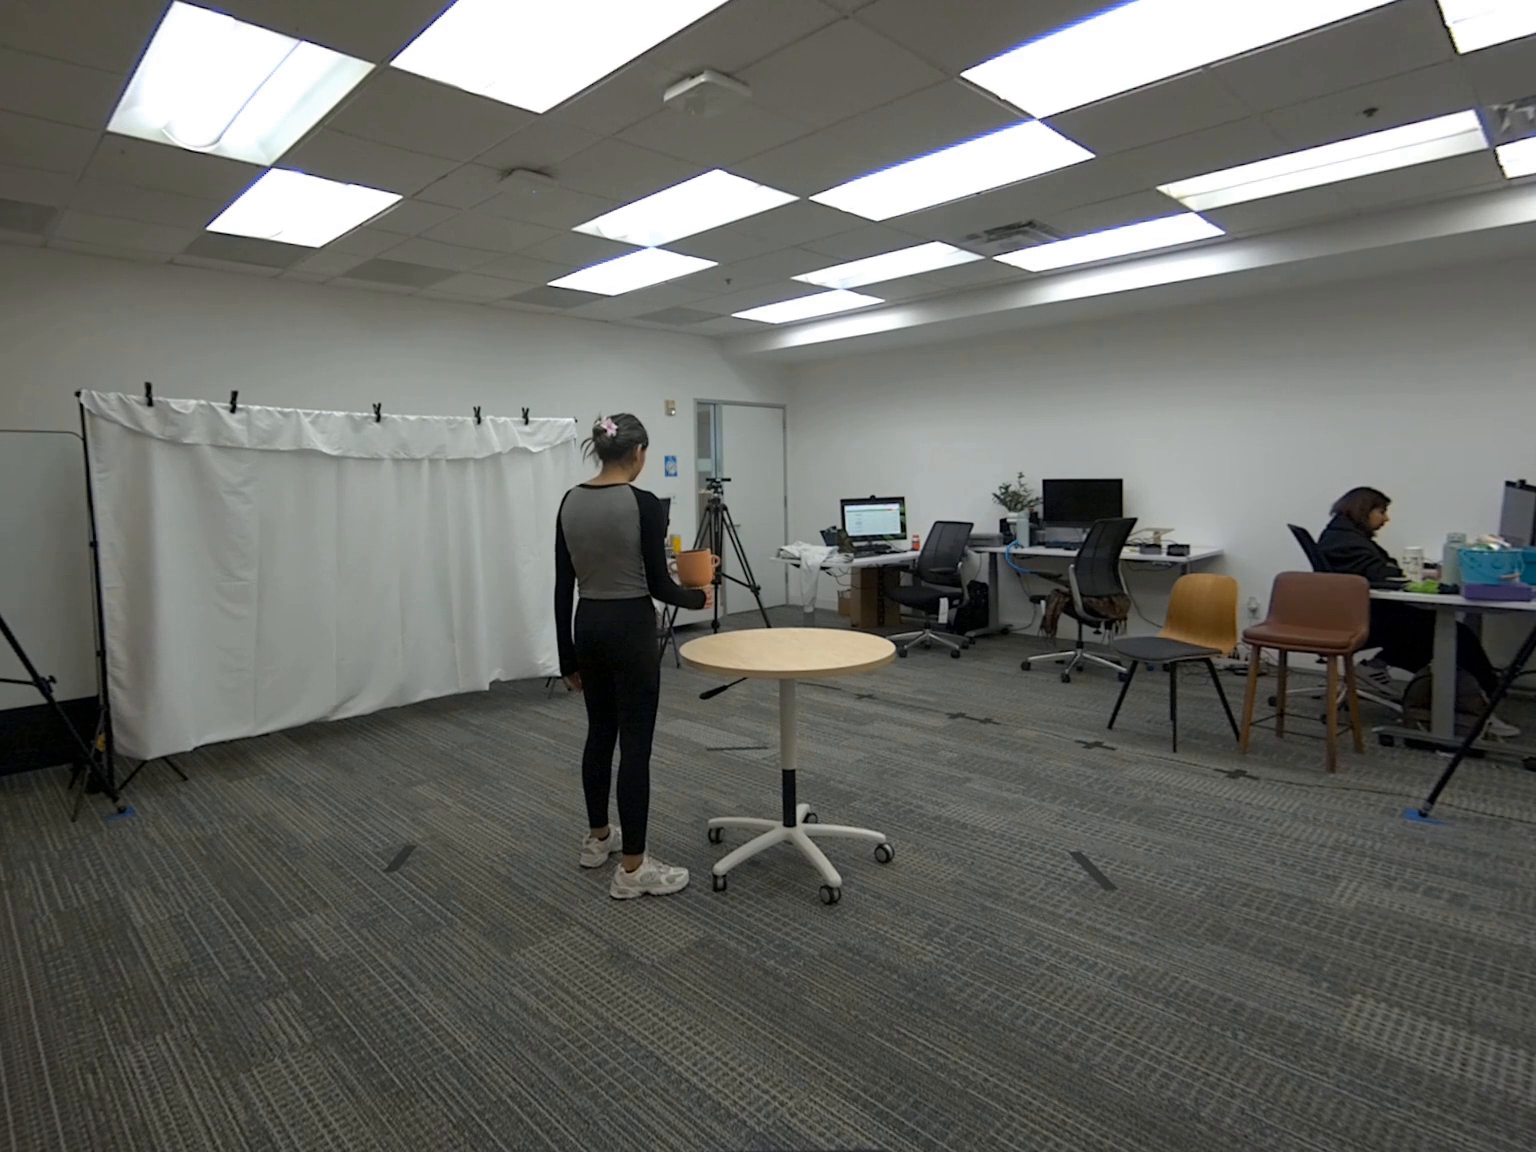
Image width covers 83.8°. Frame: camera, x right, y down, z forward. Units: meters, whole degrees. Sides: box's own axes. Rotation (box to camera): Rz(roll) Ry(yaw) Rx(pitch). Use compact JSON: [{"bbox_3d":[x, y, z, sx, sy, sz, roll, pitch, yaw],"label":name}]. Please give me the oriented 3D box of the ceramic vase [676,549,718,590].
[{"bbox_3d":[-0.271,0.015,3.238,0.162,0.219,0.132,-4,5,26],"label":"ceramic vase"}]
